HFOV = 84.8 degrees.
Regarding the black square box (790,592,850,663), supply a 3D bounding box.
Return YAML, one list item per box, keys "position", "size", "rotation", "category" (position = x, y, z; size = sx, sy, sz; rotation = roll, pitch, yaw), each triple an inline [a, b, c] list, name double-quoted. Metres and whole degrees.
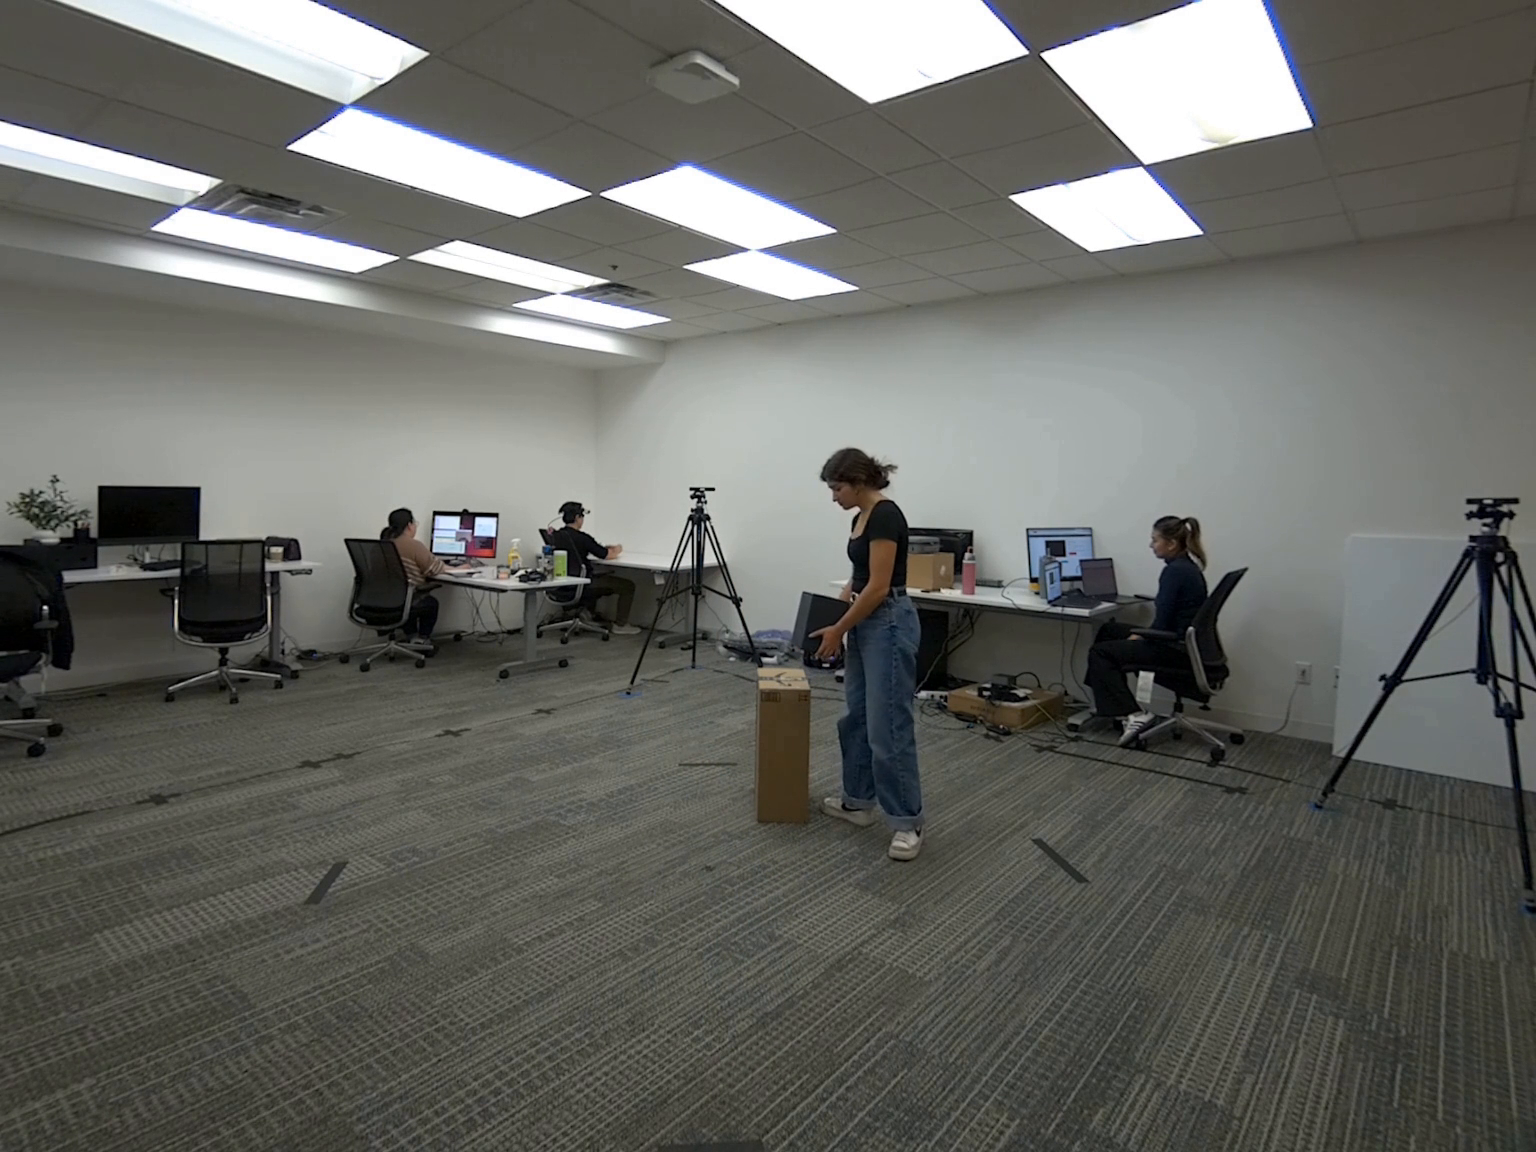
- position: [0.214, 0.187, 3.517]
  size: [0.154, 0.228, 0.219]
  rotation: [9, 0, -11]
  category: "black square box"
